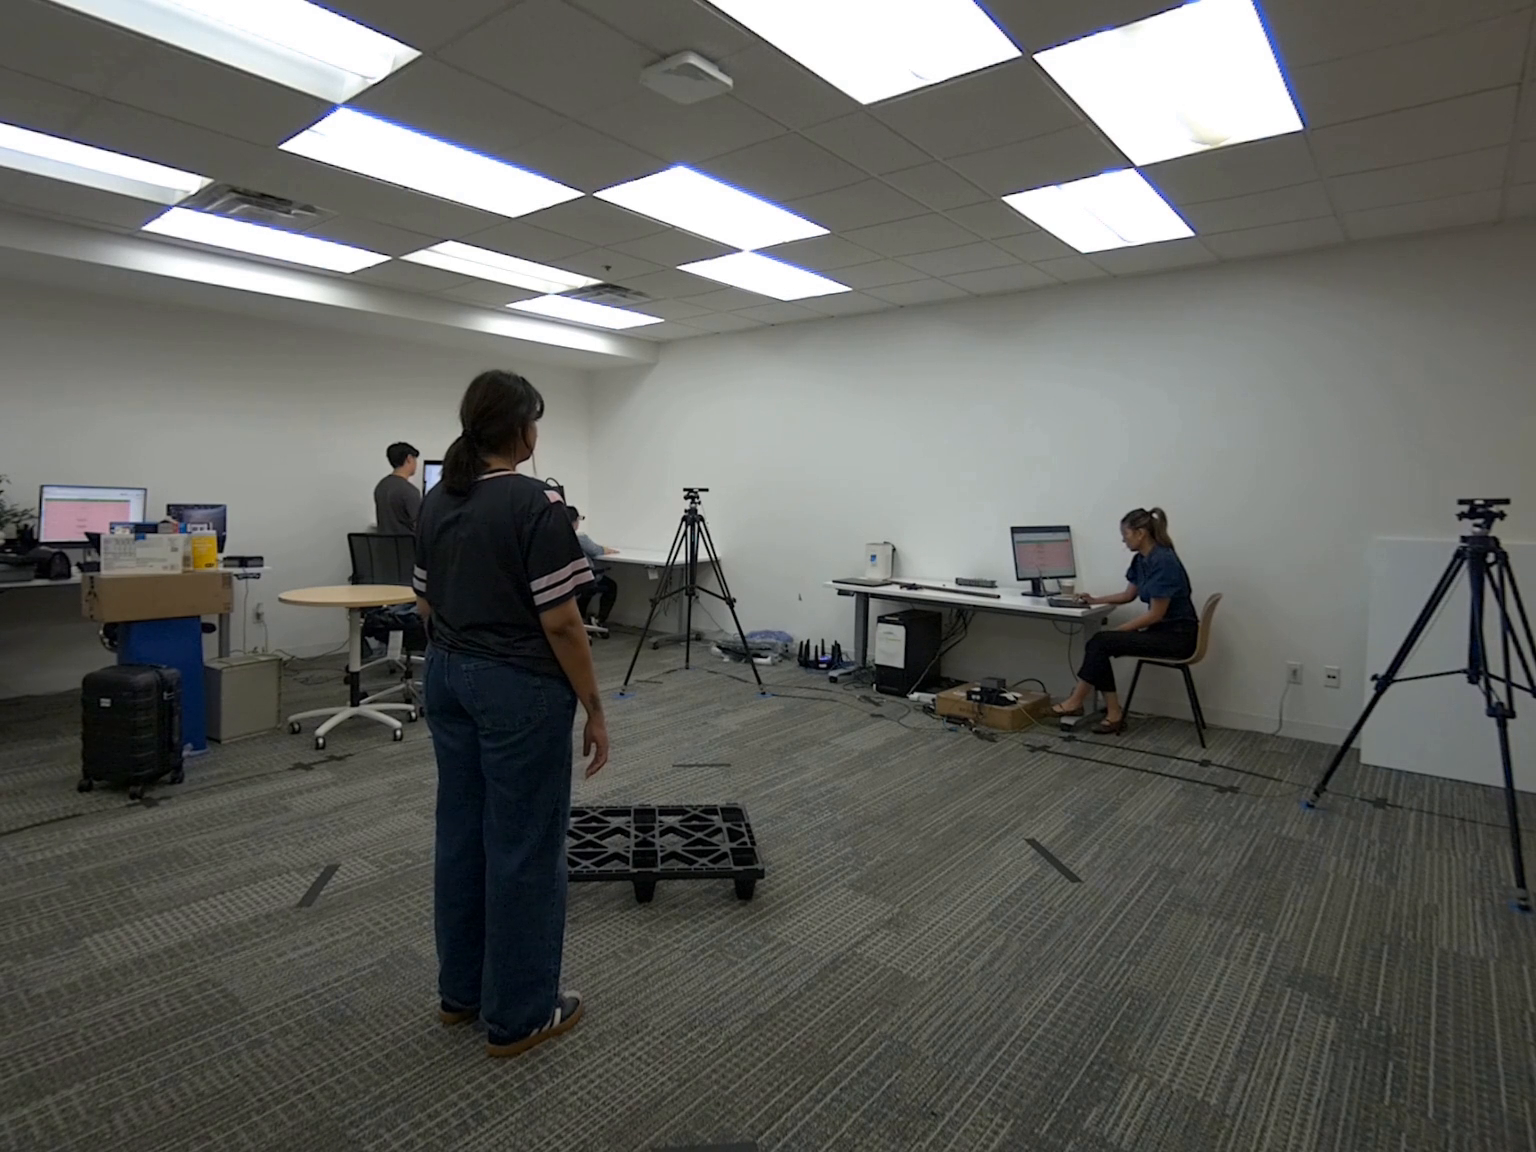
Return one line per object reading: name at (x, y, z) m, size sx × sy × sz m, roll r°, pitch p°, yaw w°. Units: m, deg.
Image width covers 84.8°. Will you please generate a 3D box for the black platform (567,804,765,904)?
black platform at (-0.456, 0.999, 3.082) m, size 0.801 × 0.143 × 0.611 m, roll 1°, pitch 5°, yaw -6°
